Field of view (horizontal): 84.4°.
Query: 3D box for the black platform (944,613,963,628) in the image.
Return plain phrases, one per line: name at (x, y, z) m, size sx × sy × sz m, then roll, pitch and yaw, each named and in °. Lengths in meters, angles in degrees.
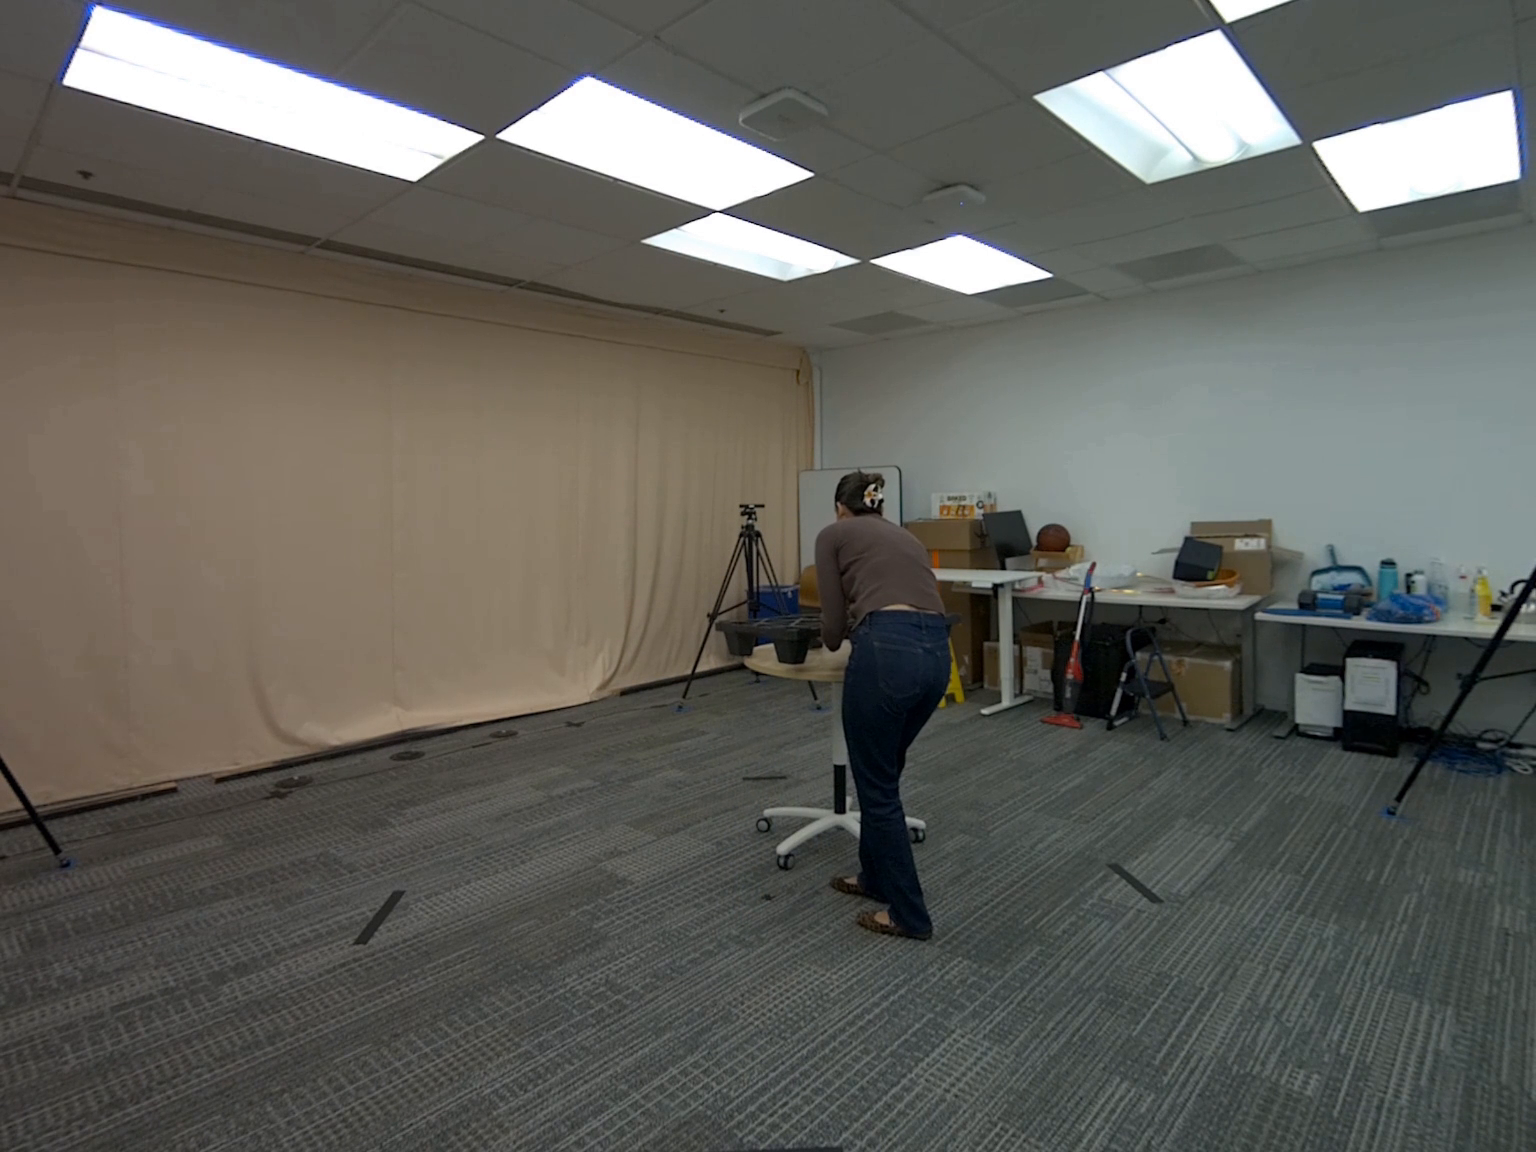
black platform at (0.273, 0.235, 3.378) m, size 0.784 × 0.143 × 0.622 m, roll -3°, pitch 2°, yaw -30°
